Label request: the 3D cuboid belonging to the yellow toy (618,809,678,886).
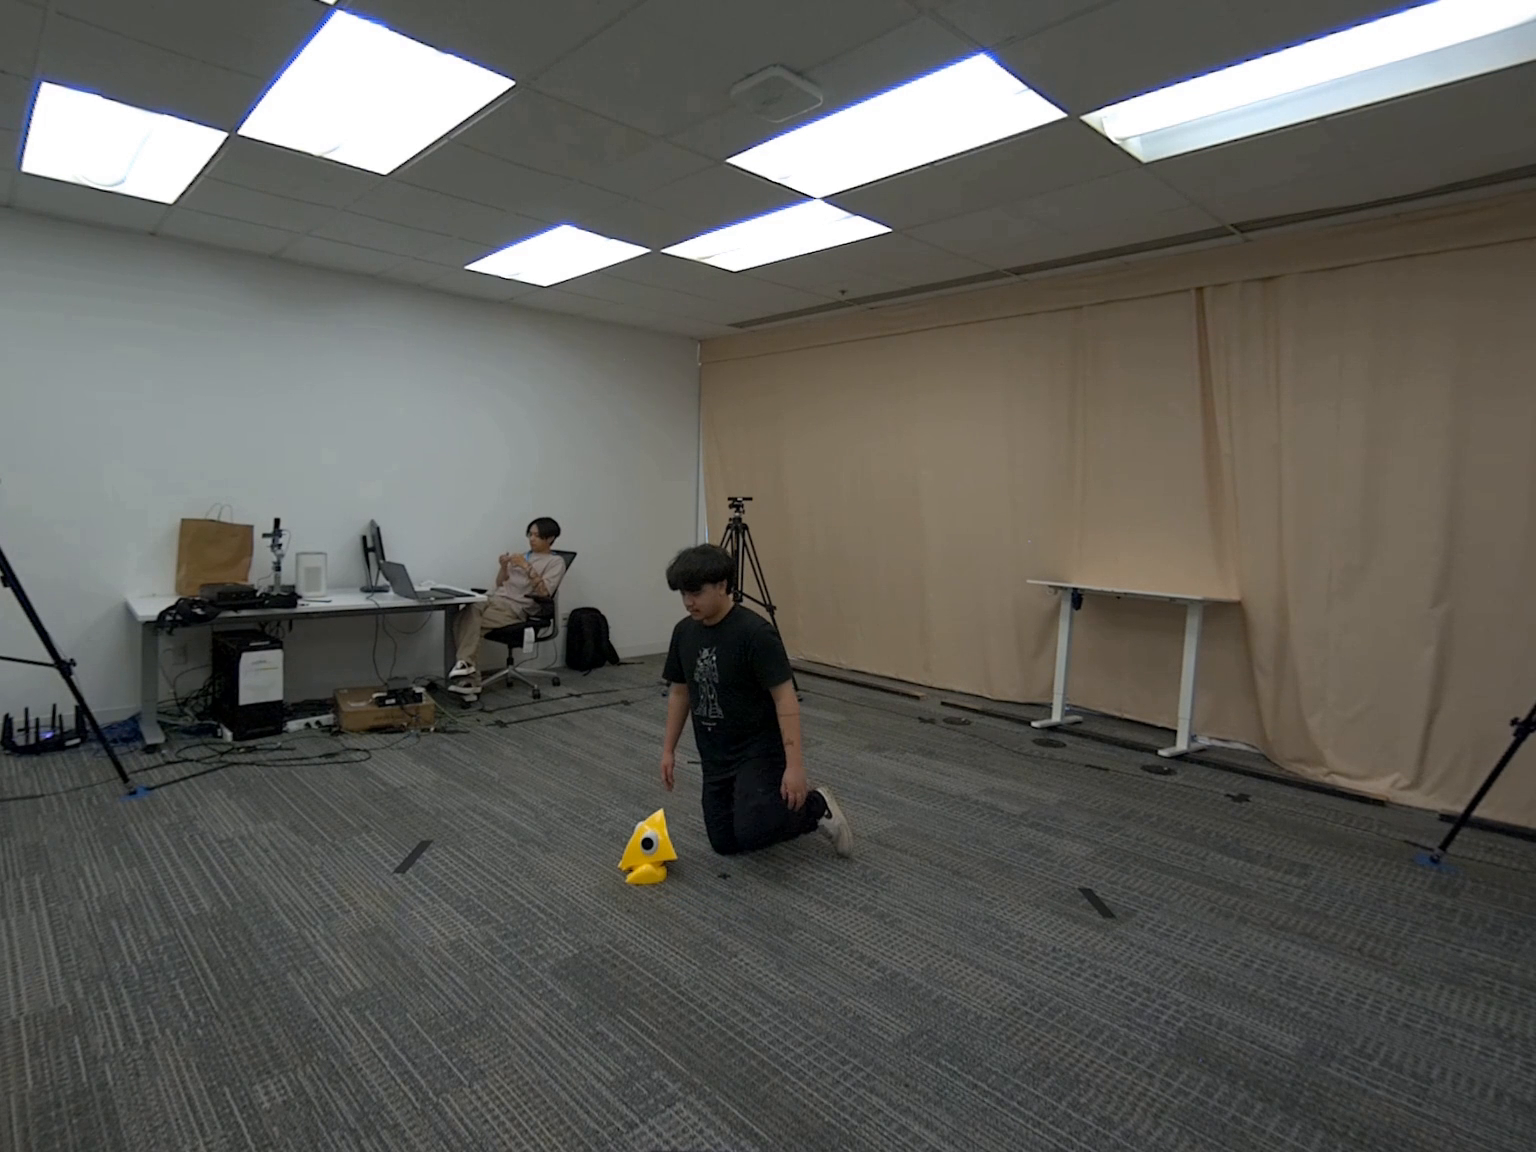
[{"bbox_3d":[-0.456,0.982,3.123,0.190,0.230,0.209,-1,6,-22],"label":"yellow toy"}]
